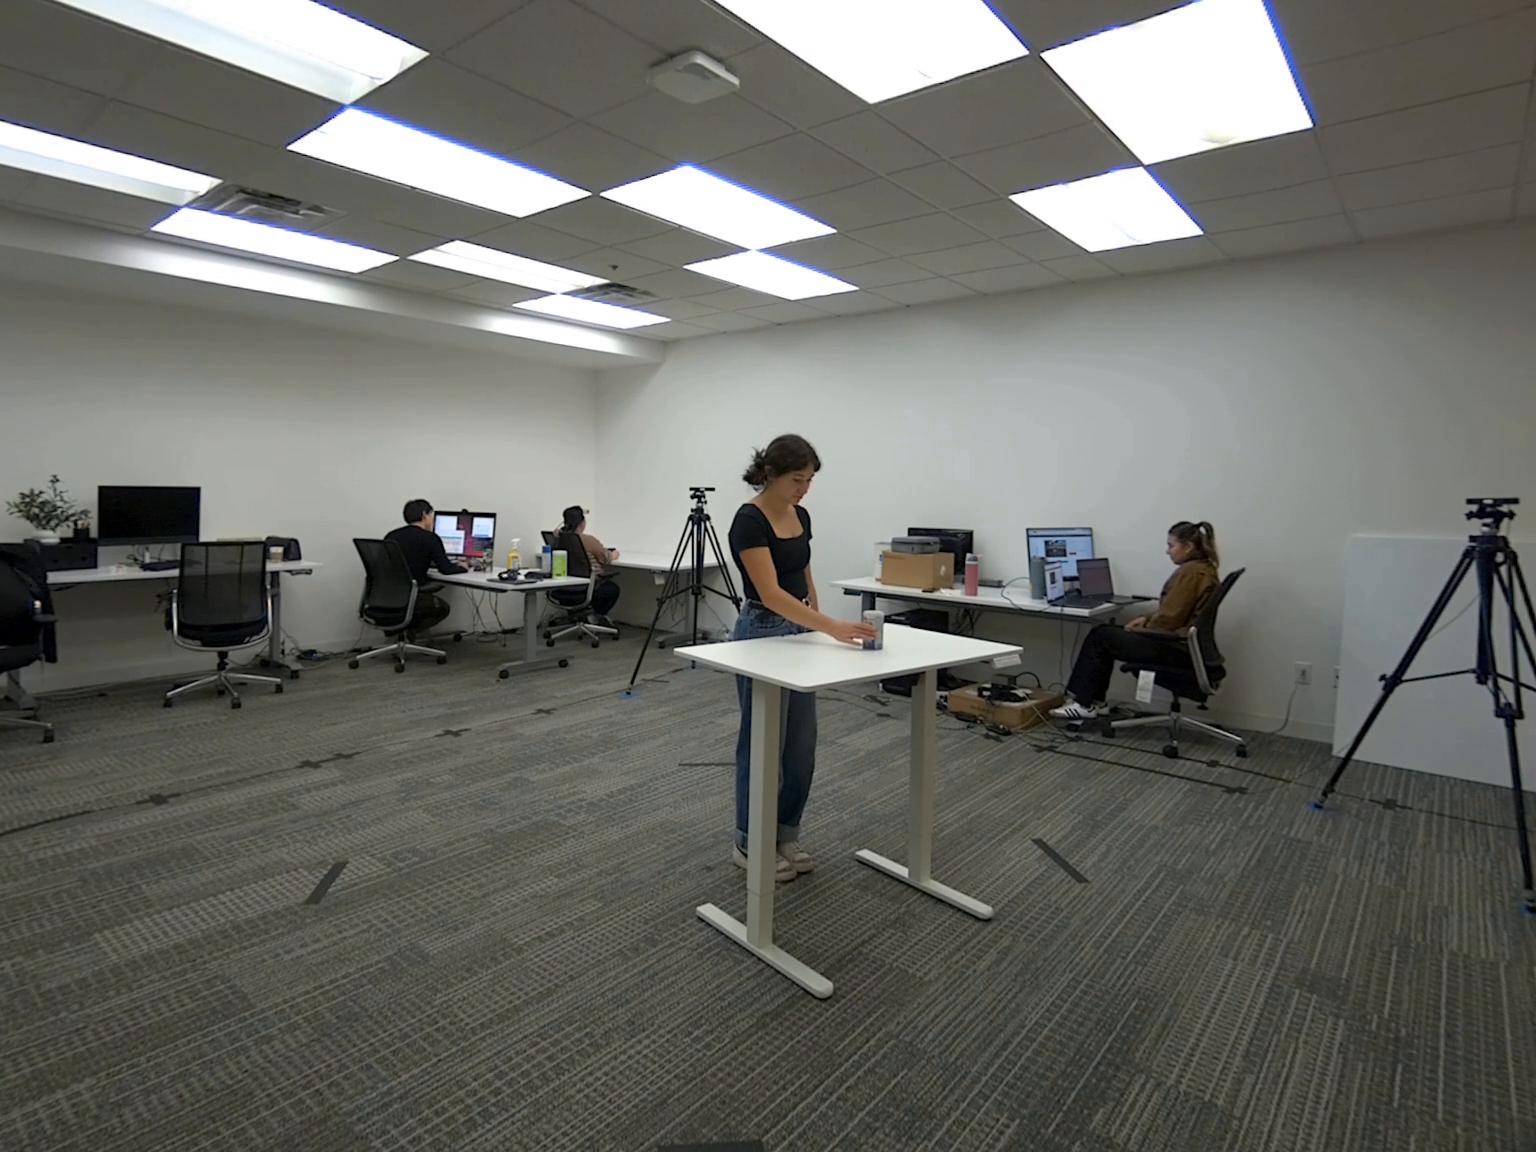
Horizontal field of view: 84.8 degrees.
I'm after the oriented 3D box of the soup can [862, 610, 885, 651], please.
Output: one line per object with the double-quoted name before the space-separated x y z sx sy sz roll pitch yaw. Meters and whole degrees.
"soup can" 0.333 0.174 2.746 0.067 0.121 0.067 1 0 -2
